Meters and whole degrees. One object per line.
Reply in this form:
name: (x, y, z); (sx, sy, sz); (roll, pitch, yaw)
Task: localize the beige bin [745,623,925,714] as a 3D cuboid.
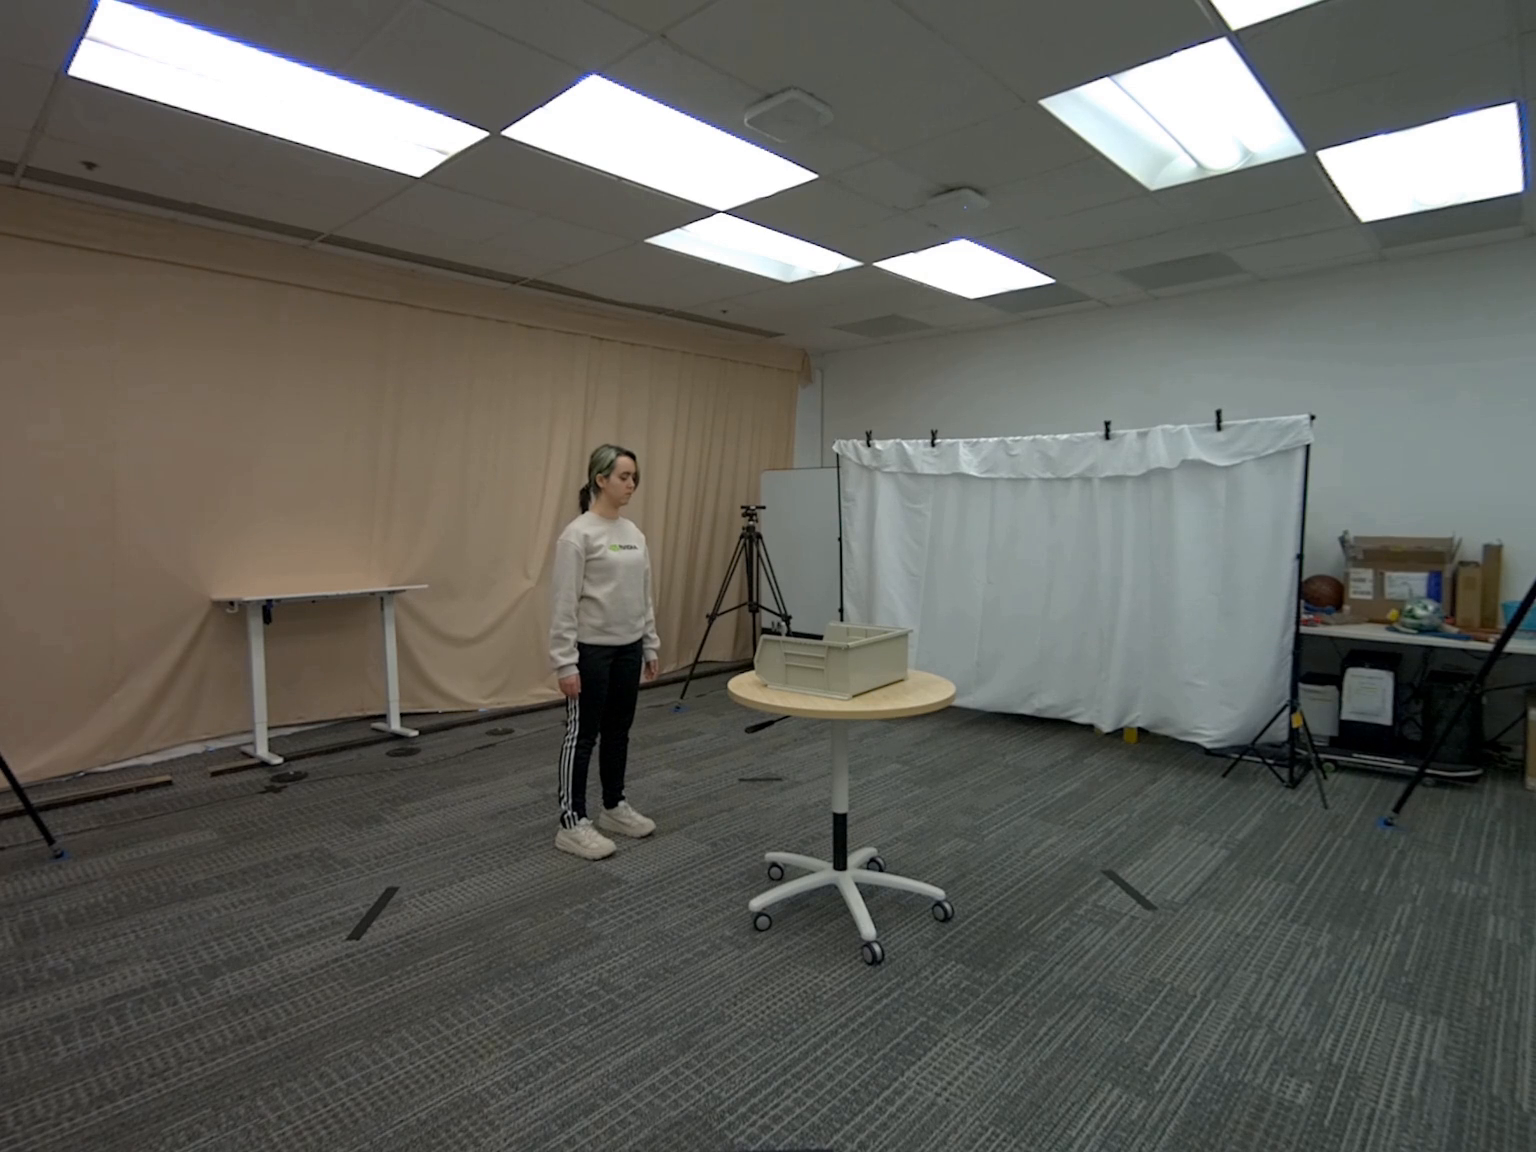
beige bin: (0.231, 0.280, 2.887); (0.390, 0.188, 0.410); (4, 6, 38)
